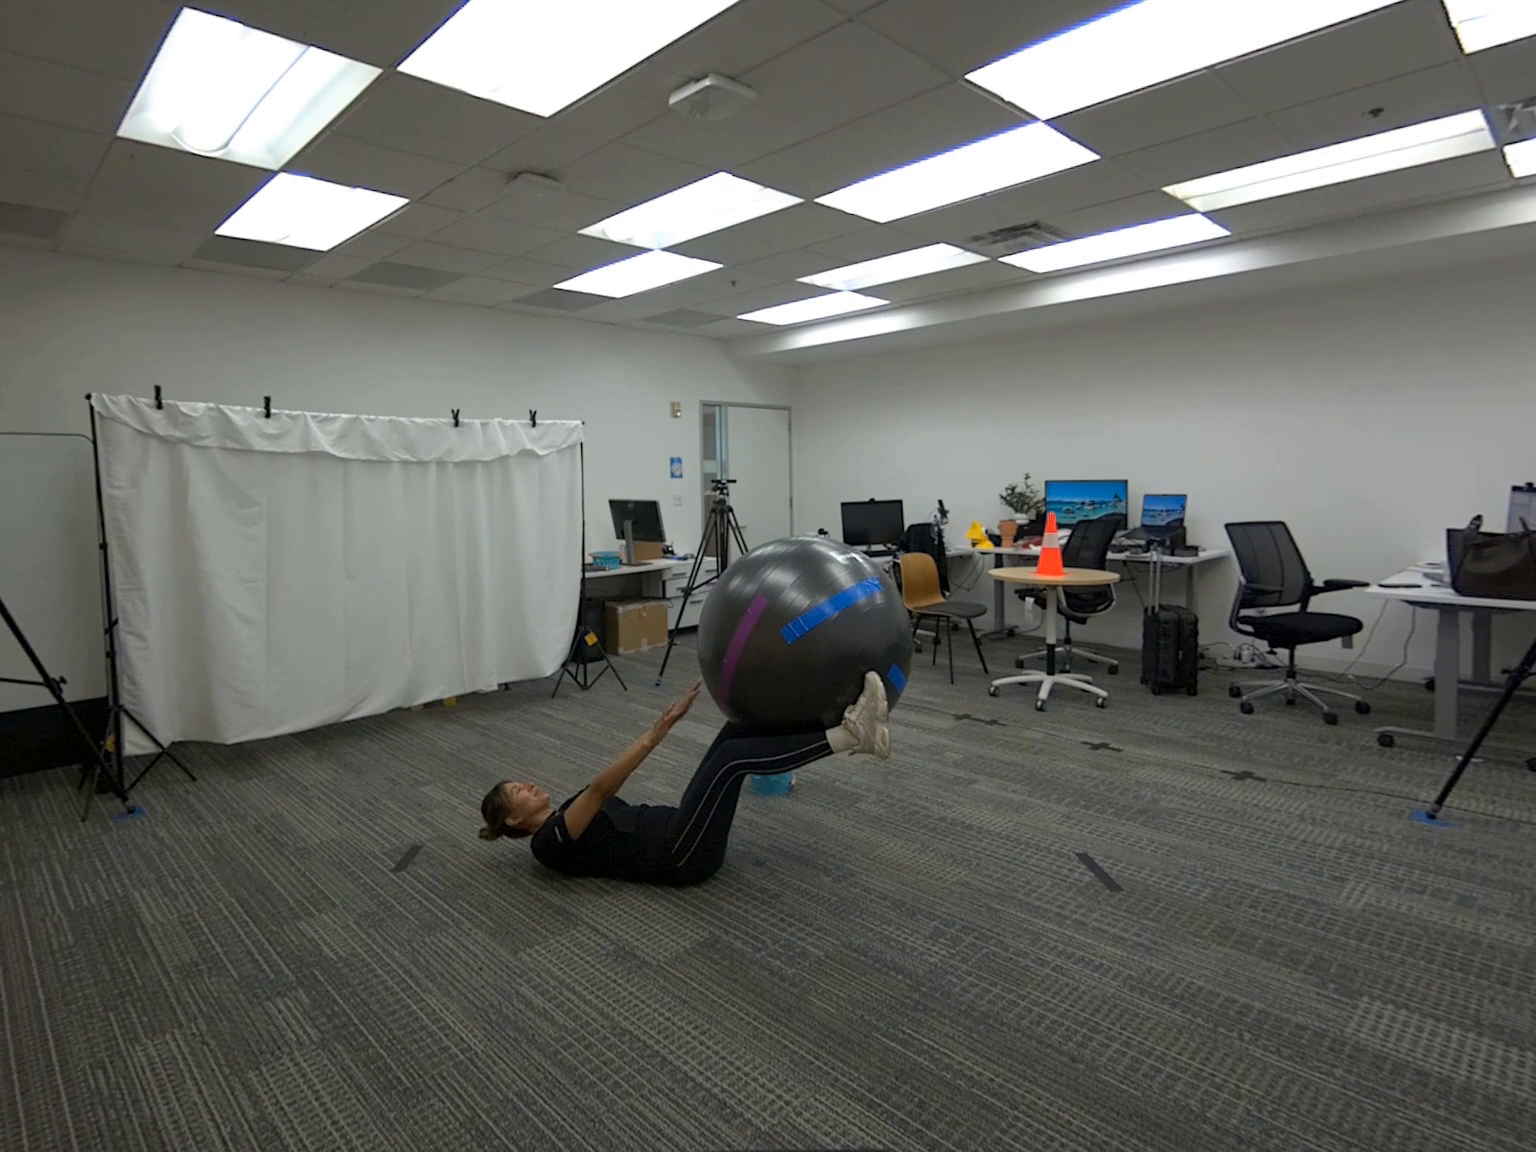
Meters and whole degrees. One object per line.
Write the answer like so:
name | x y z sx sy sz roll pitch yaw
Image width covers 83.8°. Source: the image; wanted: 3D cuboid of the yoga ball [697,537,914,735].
yoga ball | 0.120 0.241 3.018 0.757 0.755 0.762 -1 5 -2
